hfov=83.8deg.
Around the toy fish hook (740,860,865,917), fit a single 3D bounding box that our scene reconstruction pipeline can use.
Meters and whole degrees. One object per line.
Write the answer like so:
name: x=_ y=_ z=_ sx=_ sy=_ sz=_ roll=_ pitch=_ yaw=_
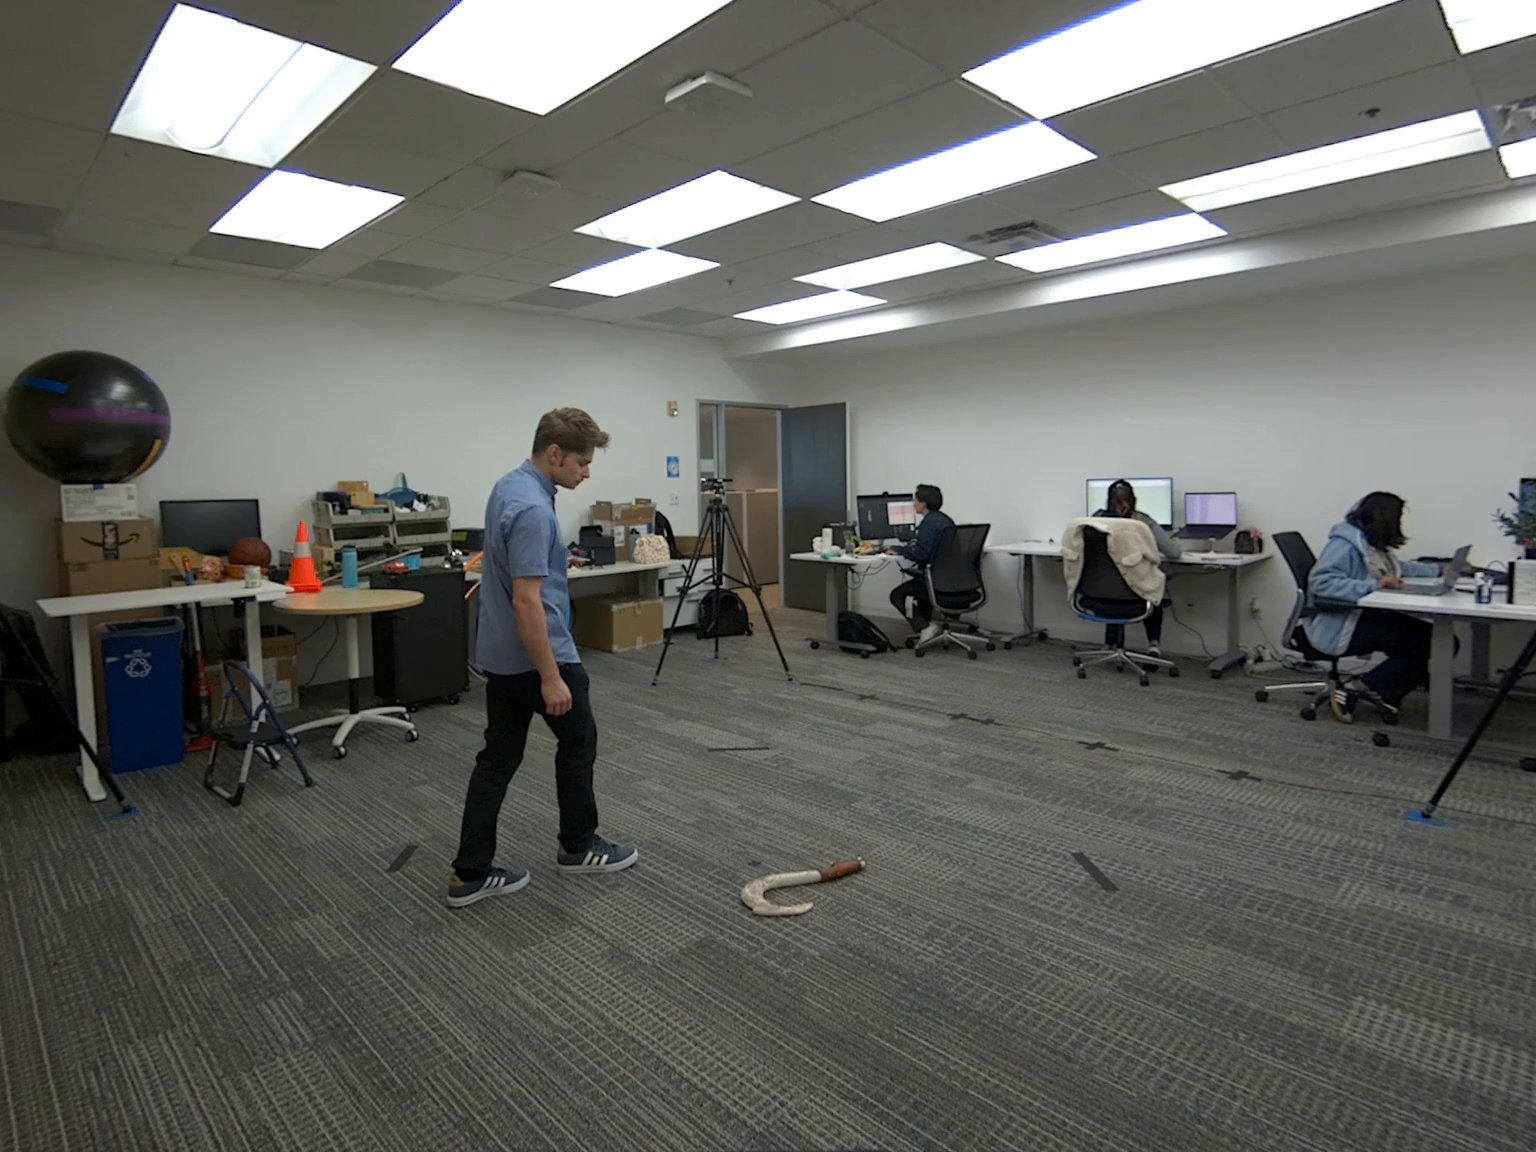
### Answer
toy fish hook: x=0.153 y=1.047 z=2.884 sx=0.496 sy=0.048 sz=0.232 roll=-6 pitch=16 yaw=-27
